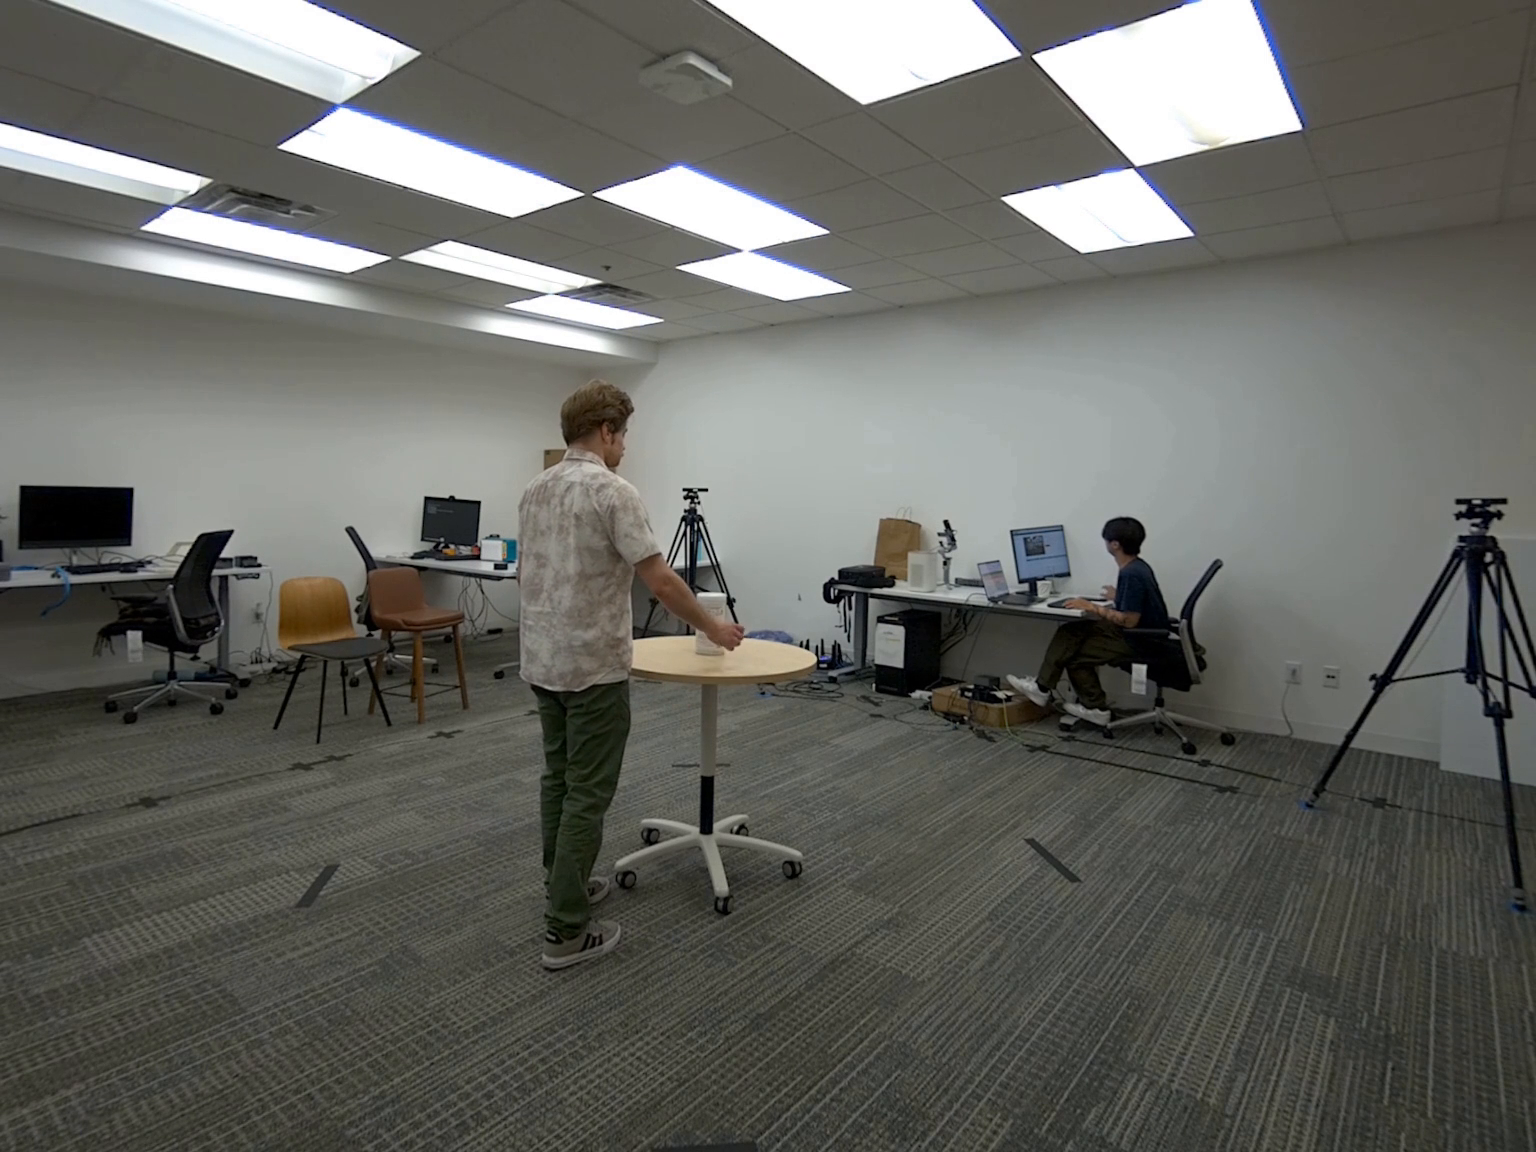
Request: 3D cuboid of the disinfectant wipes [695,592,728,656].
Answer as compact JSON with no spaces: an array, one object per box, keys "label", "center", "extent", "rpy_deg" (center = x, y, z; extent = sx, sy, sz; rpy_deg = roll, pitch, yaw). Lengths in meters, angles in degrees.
[{"label":"disinfectant wipes","center":[-0.212,0.169,3.074],"extent":[0.117,0.217,0.118],"rpy_deg":[1,4,-2]}]
